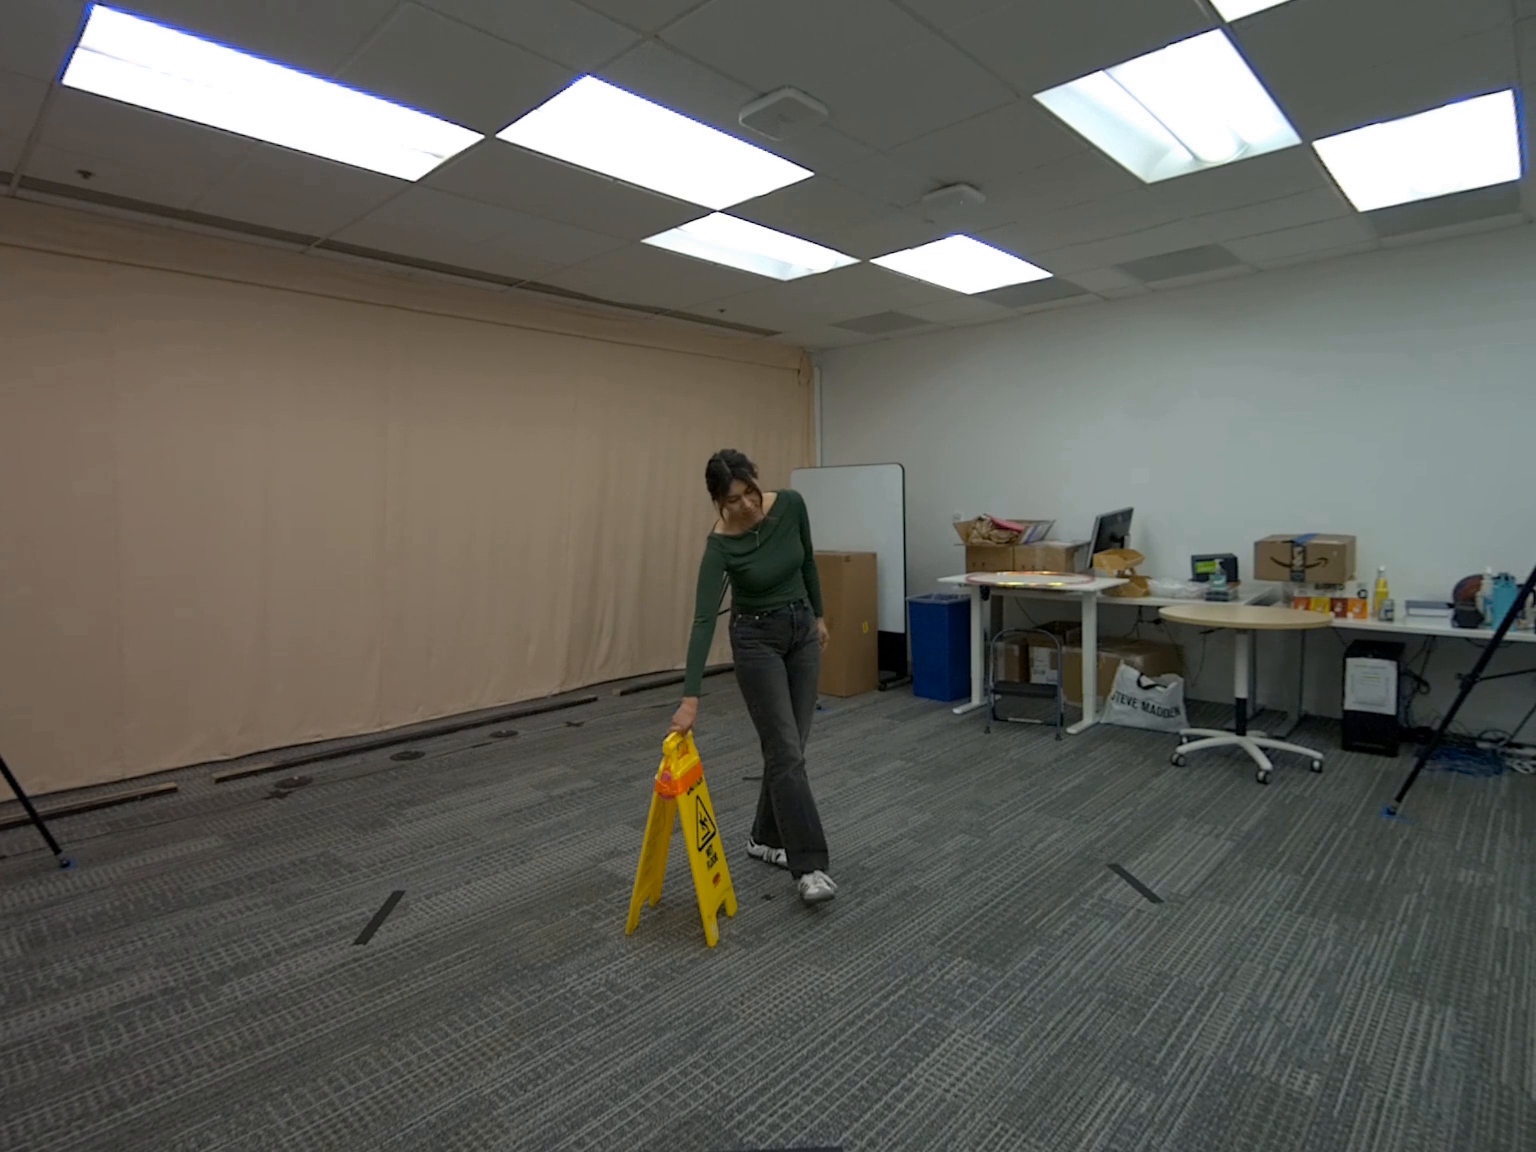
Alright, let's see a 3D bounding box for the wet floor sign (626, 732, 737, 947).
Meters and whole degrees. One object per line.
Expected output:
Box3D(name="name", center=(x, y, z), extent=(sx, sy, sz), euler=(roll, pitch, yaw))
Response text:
Box3D(name="wet floor sign", center=(-0.289, 0.840, 2.800), extent=(0.295, 0.644, 0.278), euler=(0, 5, 17))
